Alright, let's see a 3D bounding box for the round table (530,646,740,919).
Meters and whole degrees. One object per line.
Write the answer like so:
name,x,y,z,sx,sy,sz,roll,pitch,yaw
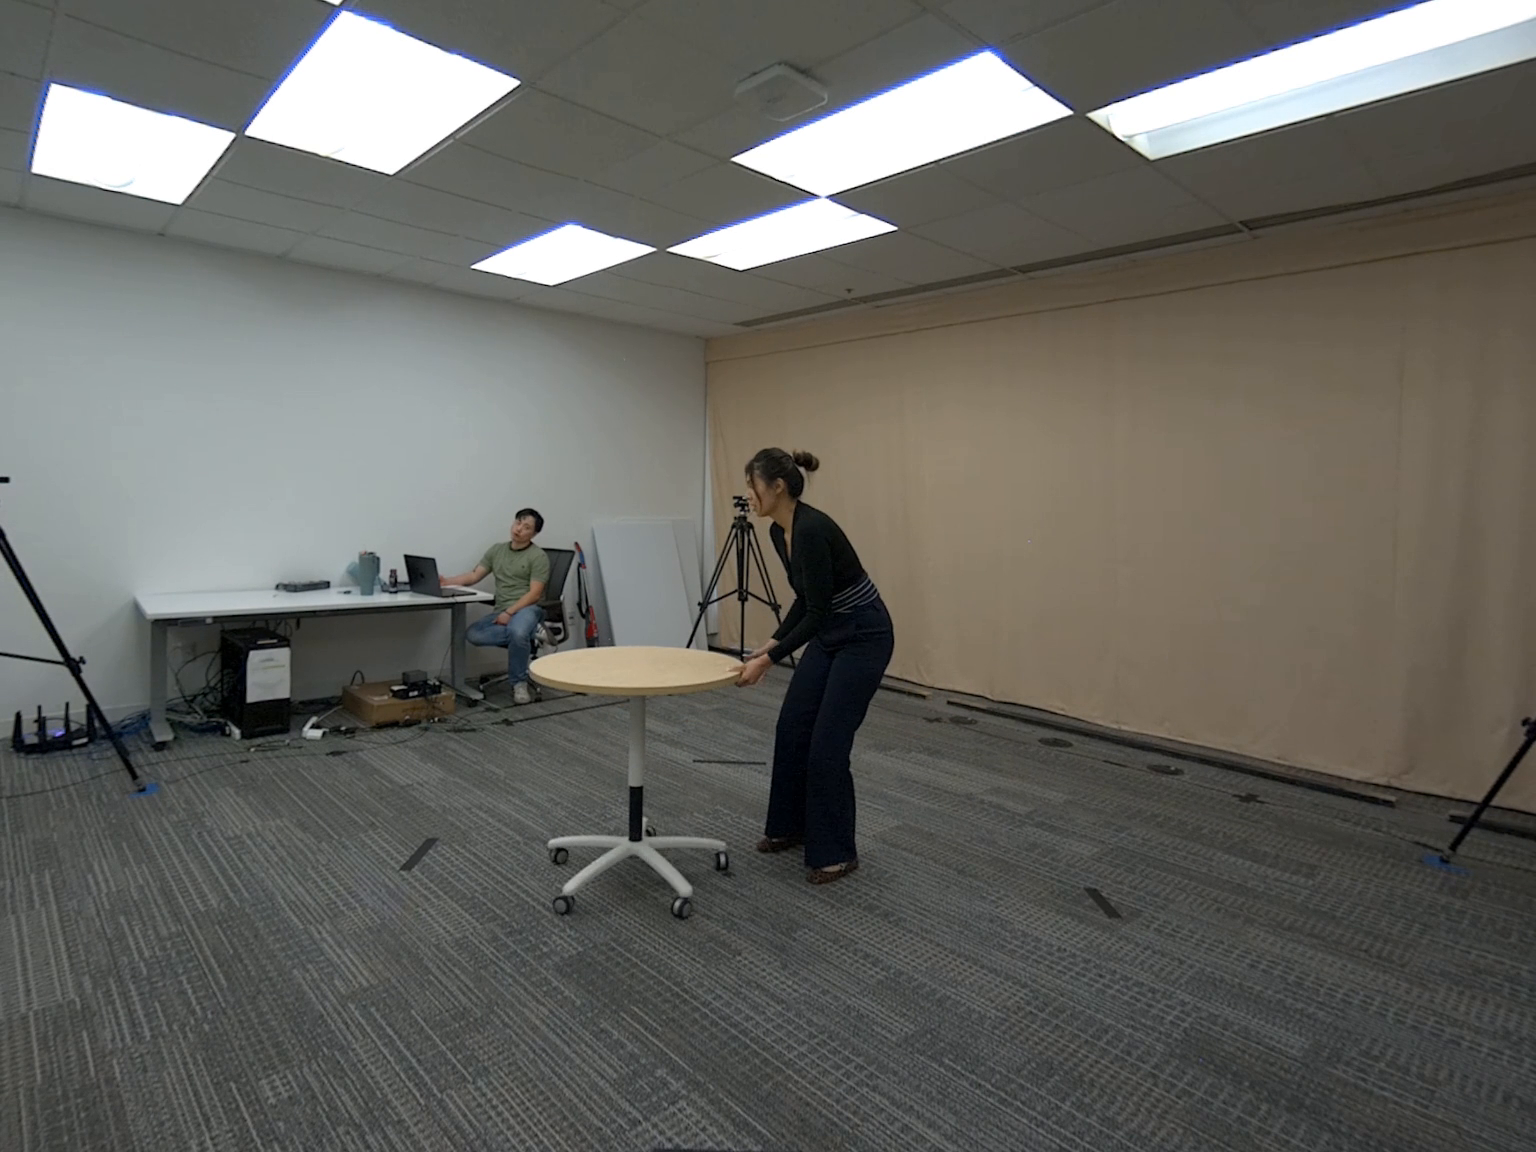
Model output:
round table,-0.476,0.711,3.045,0.763,0.792,0.766,1,4,-1
